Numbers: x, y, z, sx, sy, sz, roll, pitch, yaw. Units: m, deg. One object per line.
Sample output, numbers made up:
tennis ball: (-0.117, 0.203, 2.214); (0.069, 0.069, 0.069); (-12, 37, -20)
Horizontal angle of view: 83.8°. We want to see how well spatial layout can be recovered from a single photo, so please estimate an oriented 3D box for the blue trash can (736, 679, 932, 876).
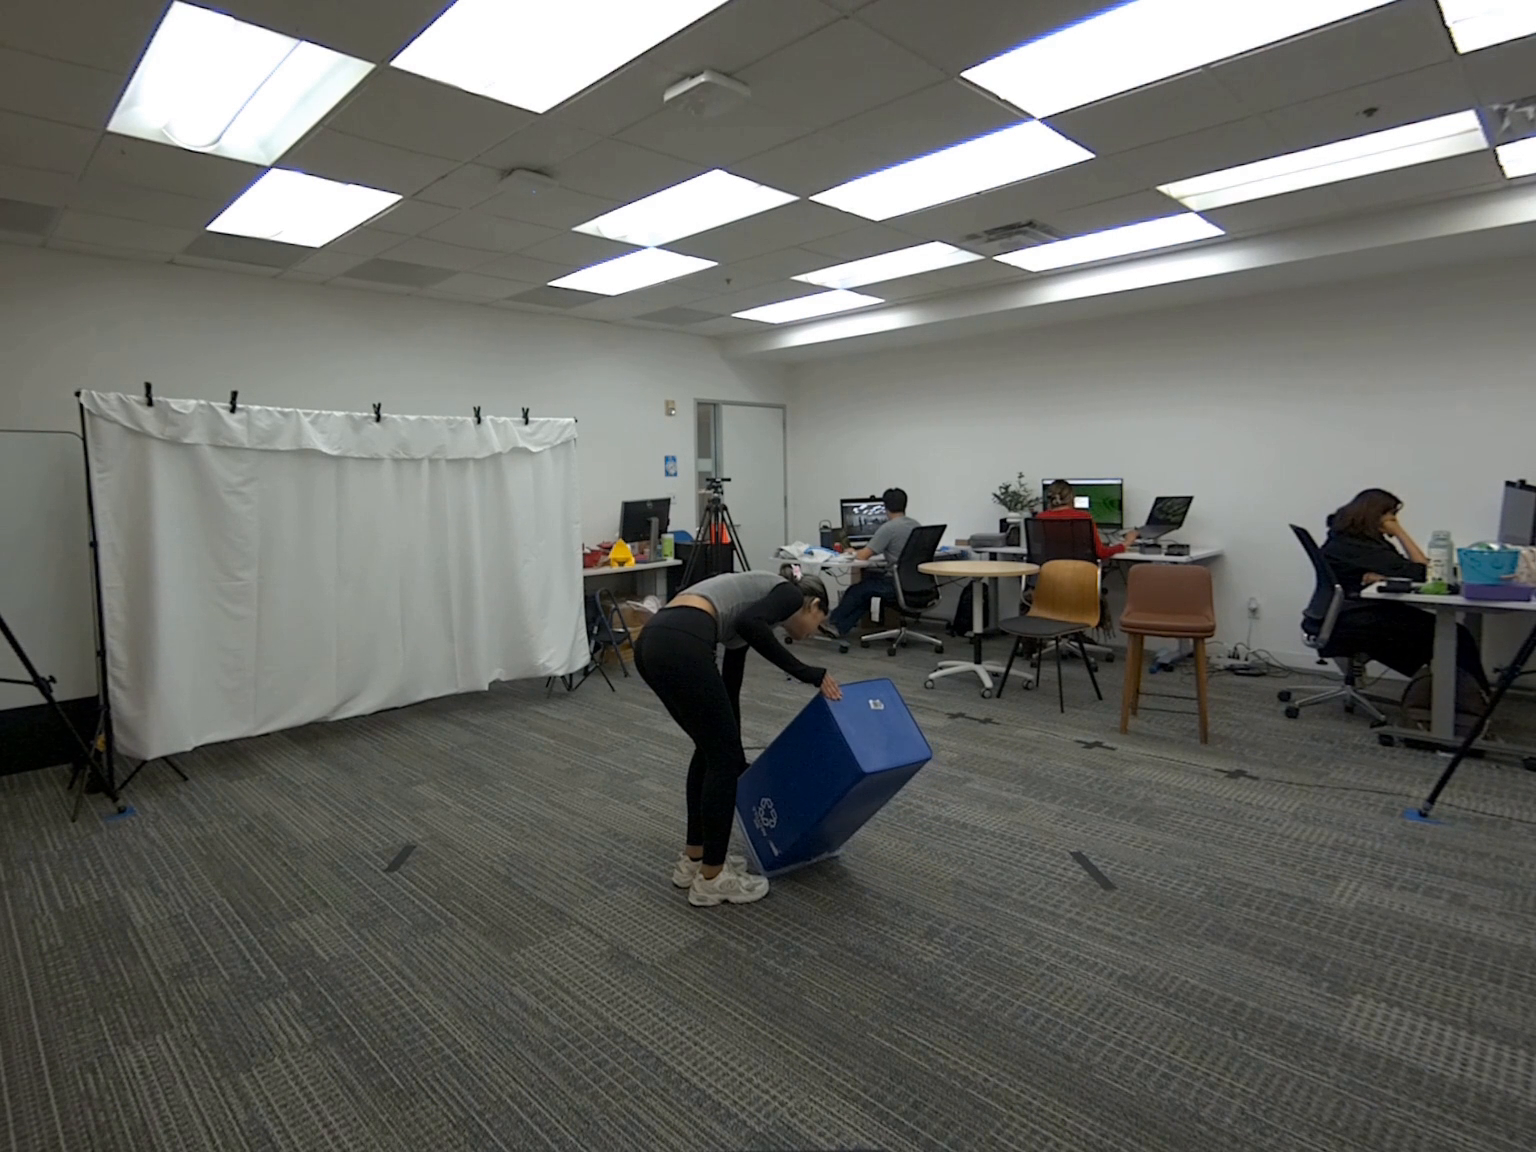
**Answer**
blue trash can: (0.204, 0.681, 2.939); (0.368, 0.387, 0.708); (-3, -38, -34)
